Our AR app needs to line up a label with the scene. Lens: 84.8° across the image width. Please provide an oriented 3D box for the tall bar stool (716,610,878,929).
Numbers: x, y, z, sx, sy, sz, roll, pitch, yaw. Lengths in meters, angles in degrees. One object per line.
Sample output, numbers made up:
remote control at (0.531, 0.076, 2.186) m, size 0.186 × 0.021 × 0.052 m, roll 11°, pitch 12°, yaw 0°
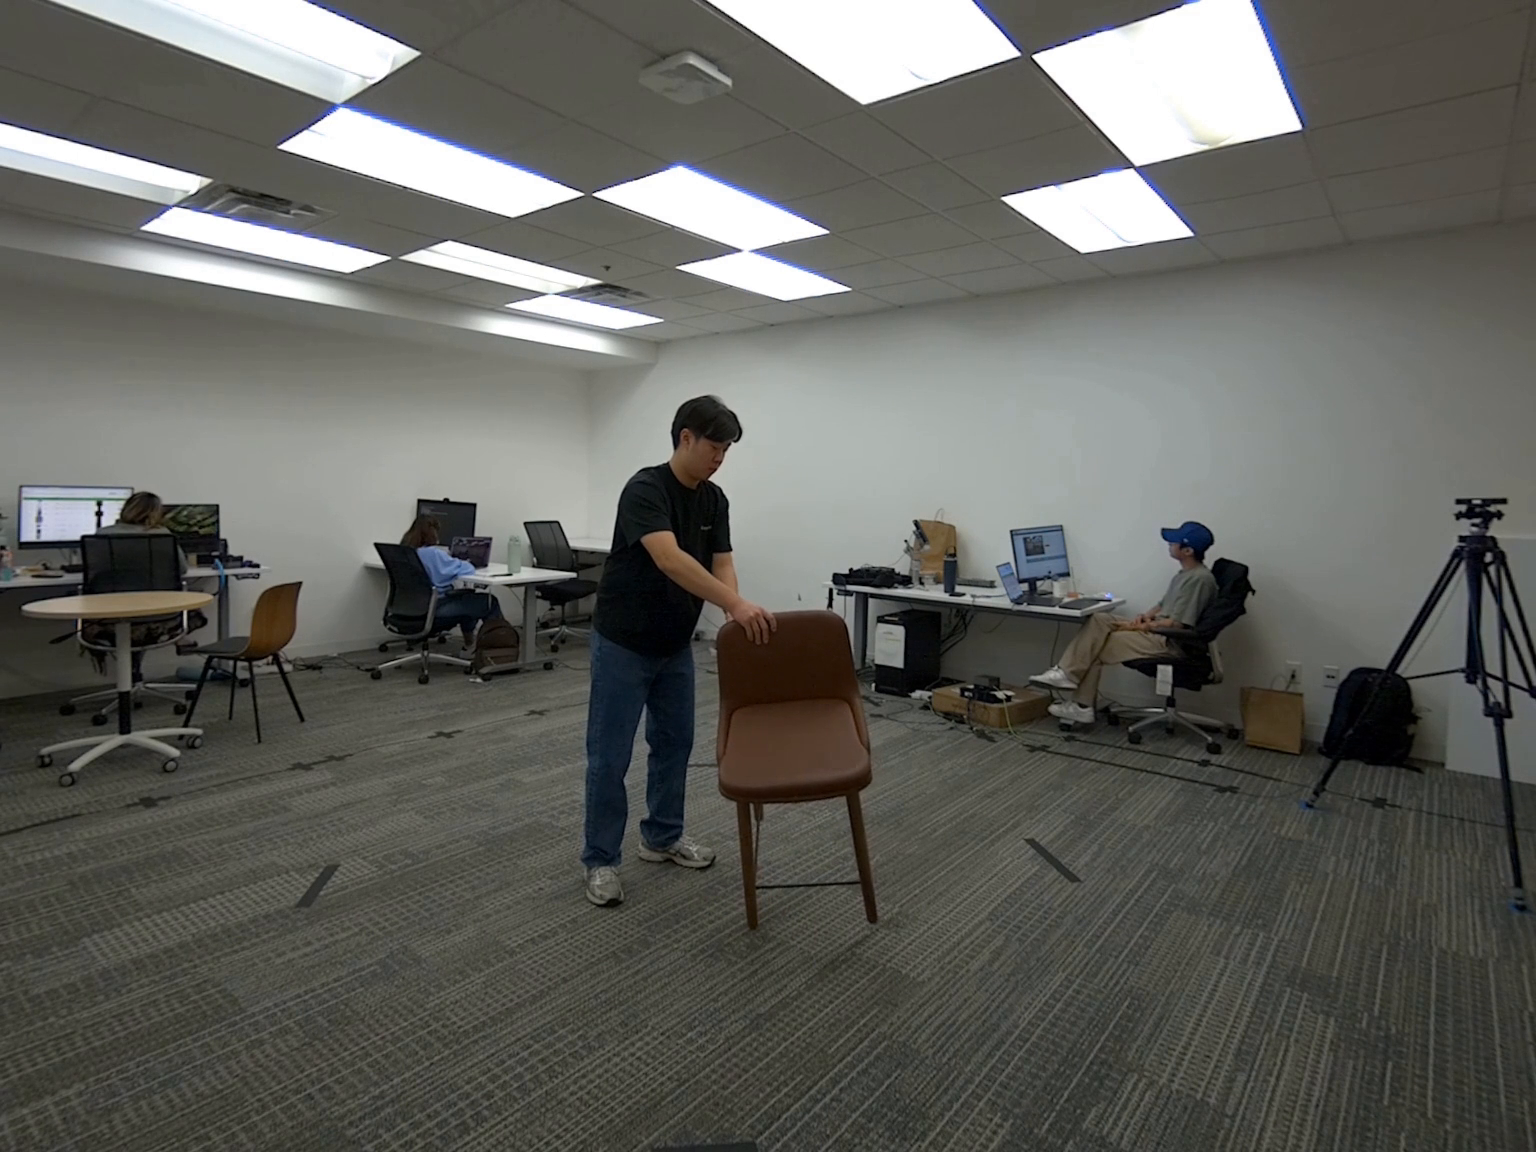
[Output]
tall bar stool at (0.088, 0.609, 2.654) m, size 0.459 × 0.866 × 0.477 m, roll -4°, pitch 29°, yaw 5°
